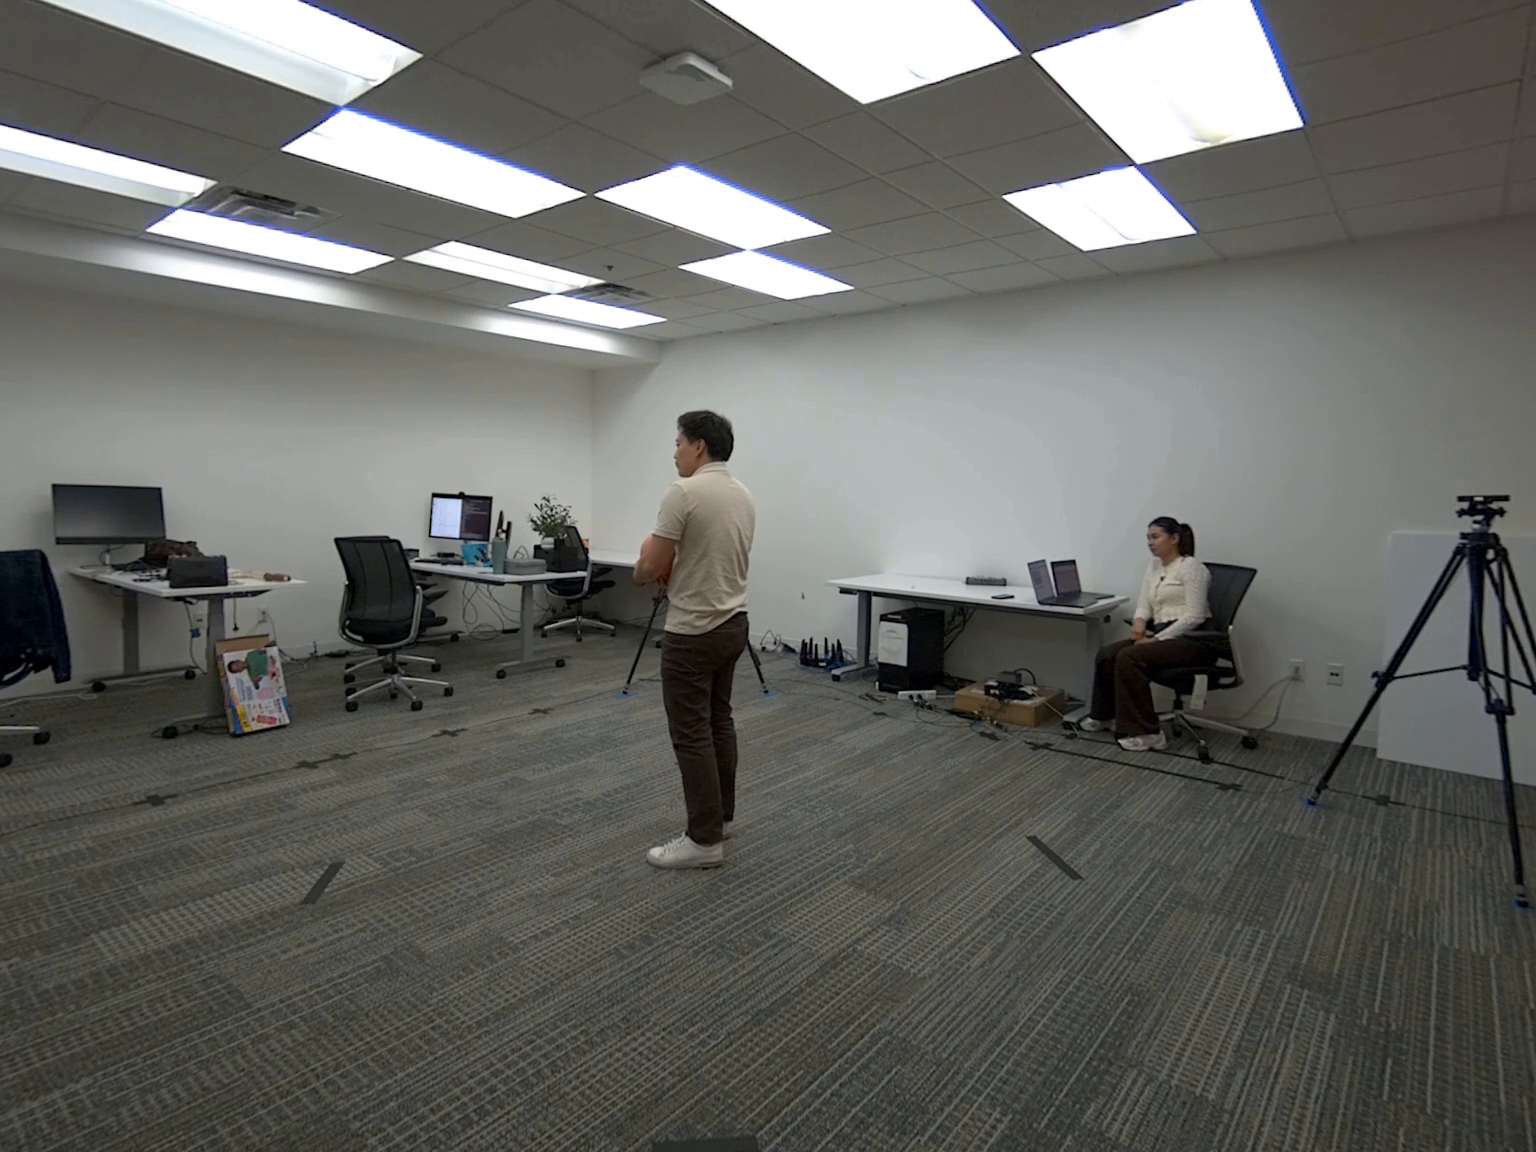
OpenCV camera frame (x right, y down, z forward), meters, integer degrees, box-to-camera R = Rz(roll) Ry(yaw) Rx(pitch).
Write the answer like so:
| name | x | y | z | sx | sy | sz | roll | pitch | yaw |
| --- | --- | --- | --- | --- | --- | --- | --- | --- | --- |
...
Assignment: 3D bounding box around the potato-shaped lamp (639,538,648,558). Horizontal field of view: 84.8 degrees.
| name | x | y | z | sx | sy | sz | roll | pitch | yaw |
| --- | --- | --- | --- | --- | --- | --- | --- | --- | --- |
| potato-shaped lamp | -0.419 | -0.087 | 3.312 | 0.169 | 0.194 | 0.171 | 34 | 55 | 16 |
